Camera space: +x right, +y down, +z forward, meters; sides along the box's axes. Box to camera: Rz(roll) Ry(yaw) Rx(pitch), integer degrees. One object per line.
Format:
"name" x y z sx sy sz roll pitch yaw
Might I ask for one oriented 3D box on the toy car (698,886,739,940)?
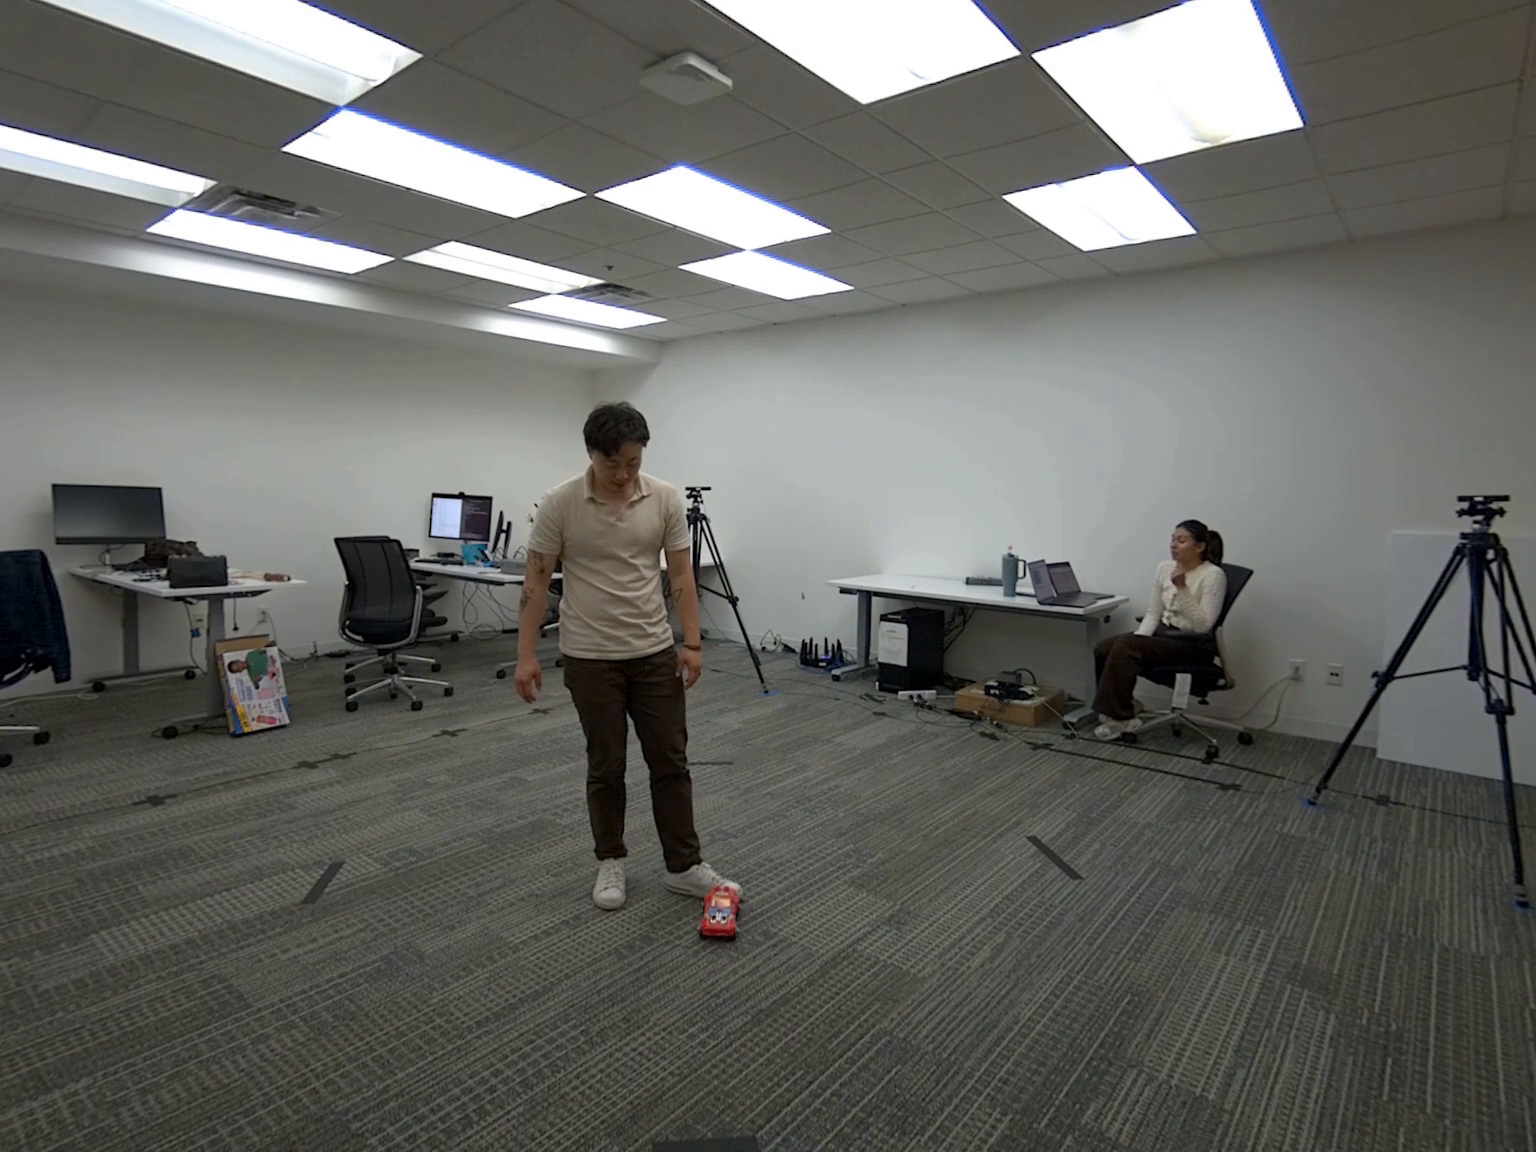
"toy car" -0.159 1.071 2.714 0.130 0.082 0.257 2 17 1
